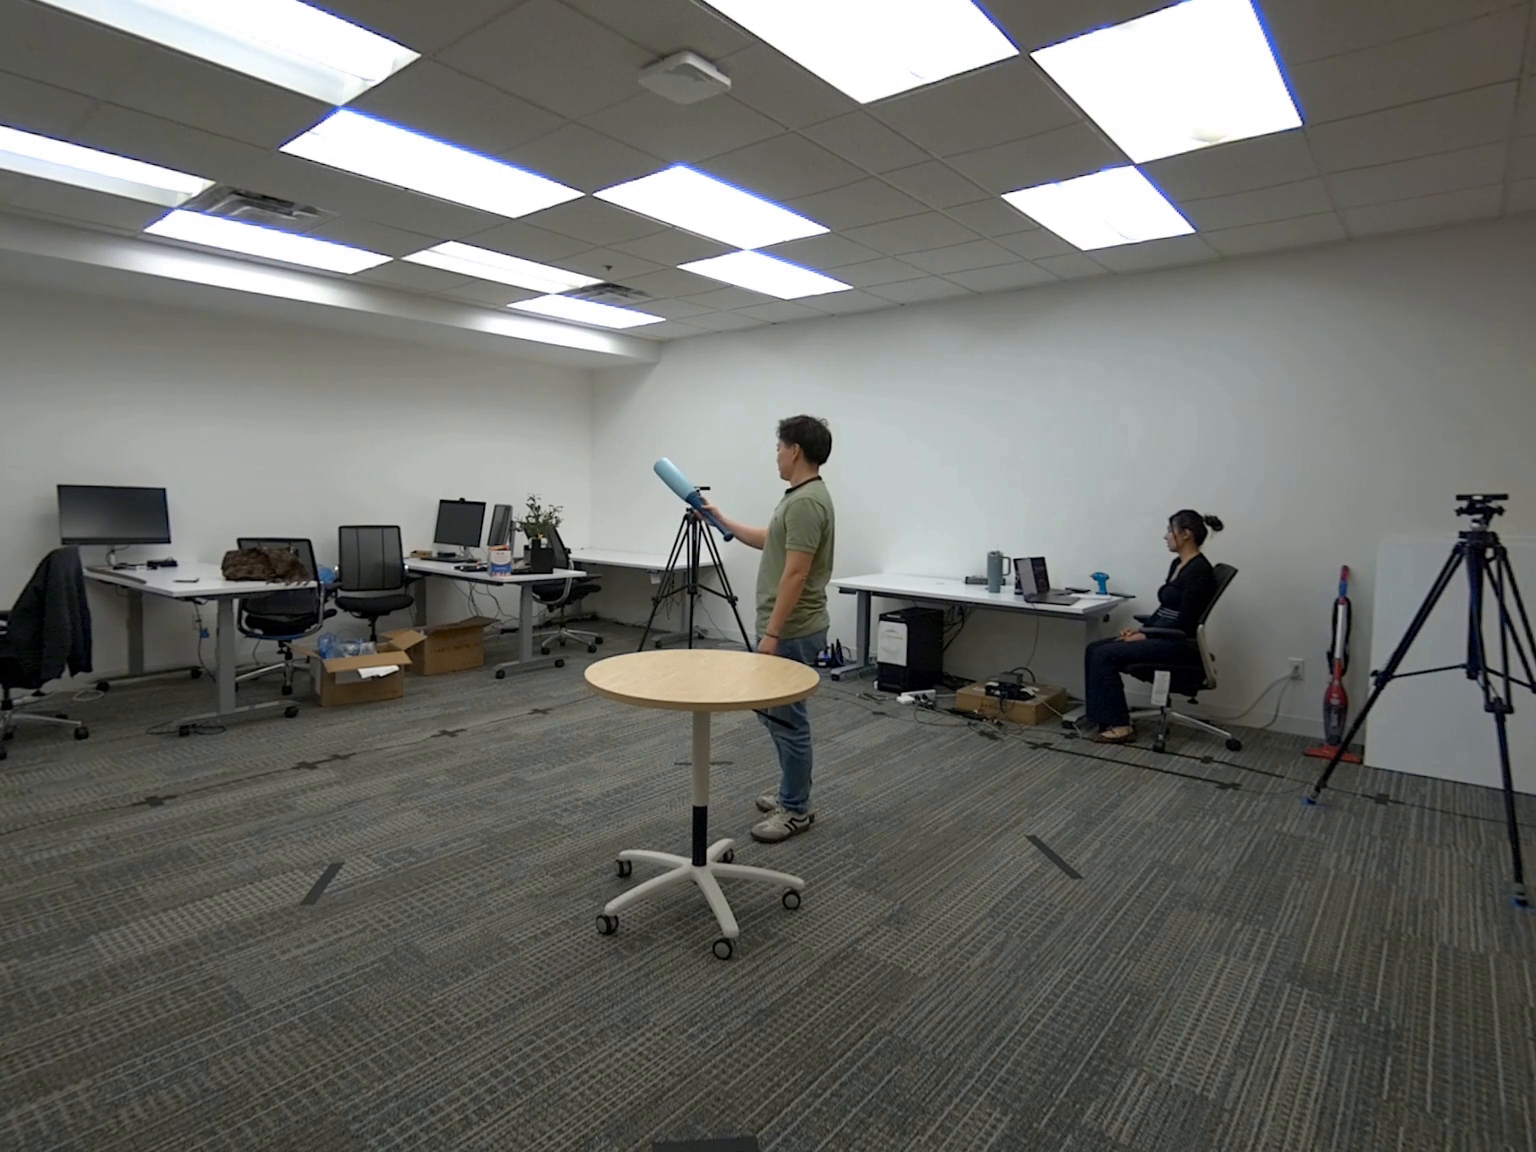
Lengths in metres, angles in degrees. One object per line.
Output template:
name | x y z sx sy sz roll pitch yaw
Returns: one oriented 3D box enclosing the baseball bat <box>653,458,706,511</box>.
baseball bat | -0.345 -0.354 3.852 0.086 0.088 0.562 -3 44 -52
